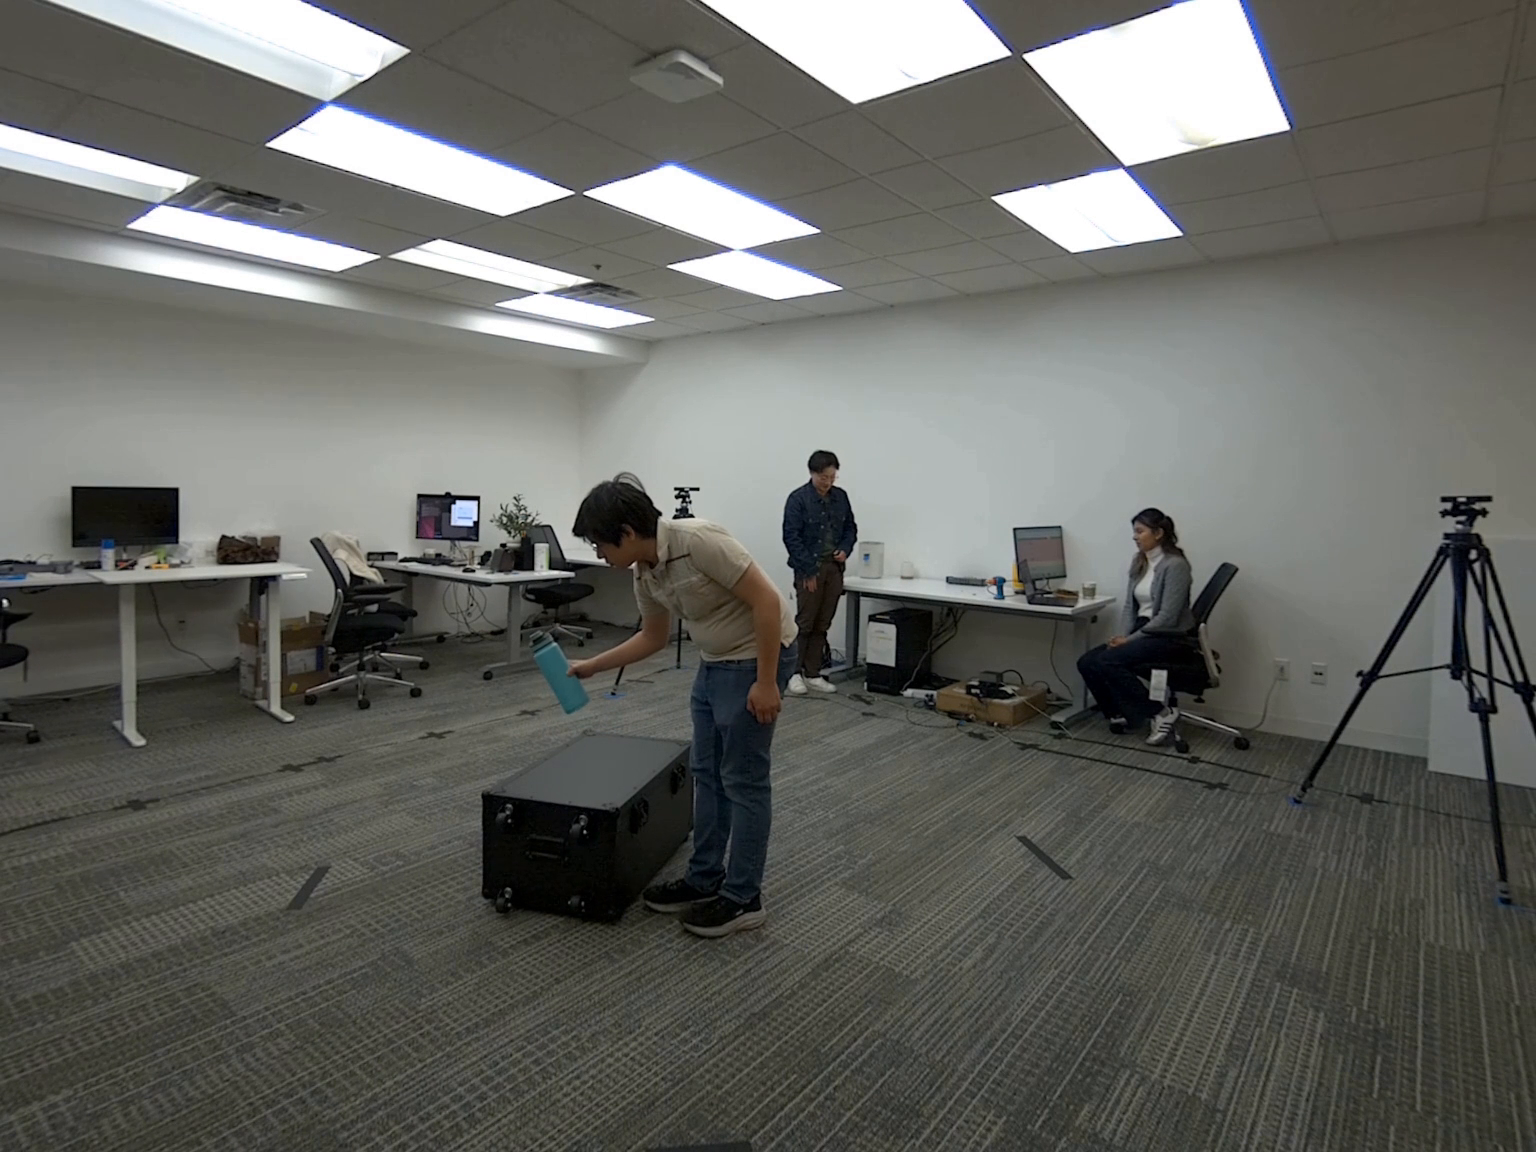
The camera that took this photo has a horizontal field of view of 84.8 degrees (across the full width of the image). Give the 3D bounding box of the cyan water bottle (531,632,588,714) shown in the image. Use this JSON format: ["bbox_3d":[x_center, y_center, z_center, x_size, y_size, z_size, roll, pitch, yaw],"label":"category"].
[{"bbox_3d":[-0.705,0.310,2.788,0.092,0.285,0.092,-31,-4,-4],"label":"cyan water bottle"}]
